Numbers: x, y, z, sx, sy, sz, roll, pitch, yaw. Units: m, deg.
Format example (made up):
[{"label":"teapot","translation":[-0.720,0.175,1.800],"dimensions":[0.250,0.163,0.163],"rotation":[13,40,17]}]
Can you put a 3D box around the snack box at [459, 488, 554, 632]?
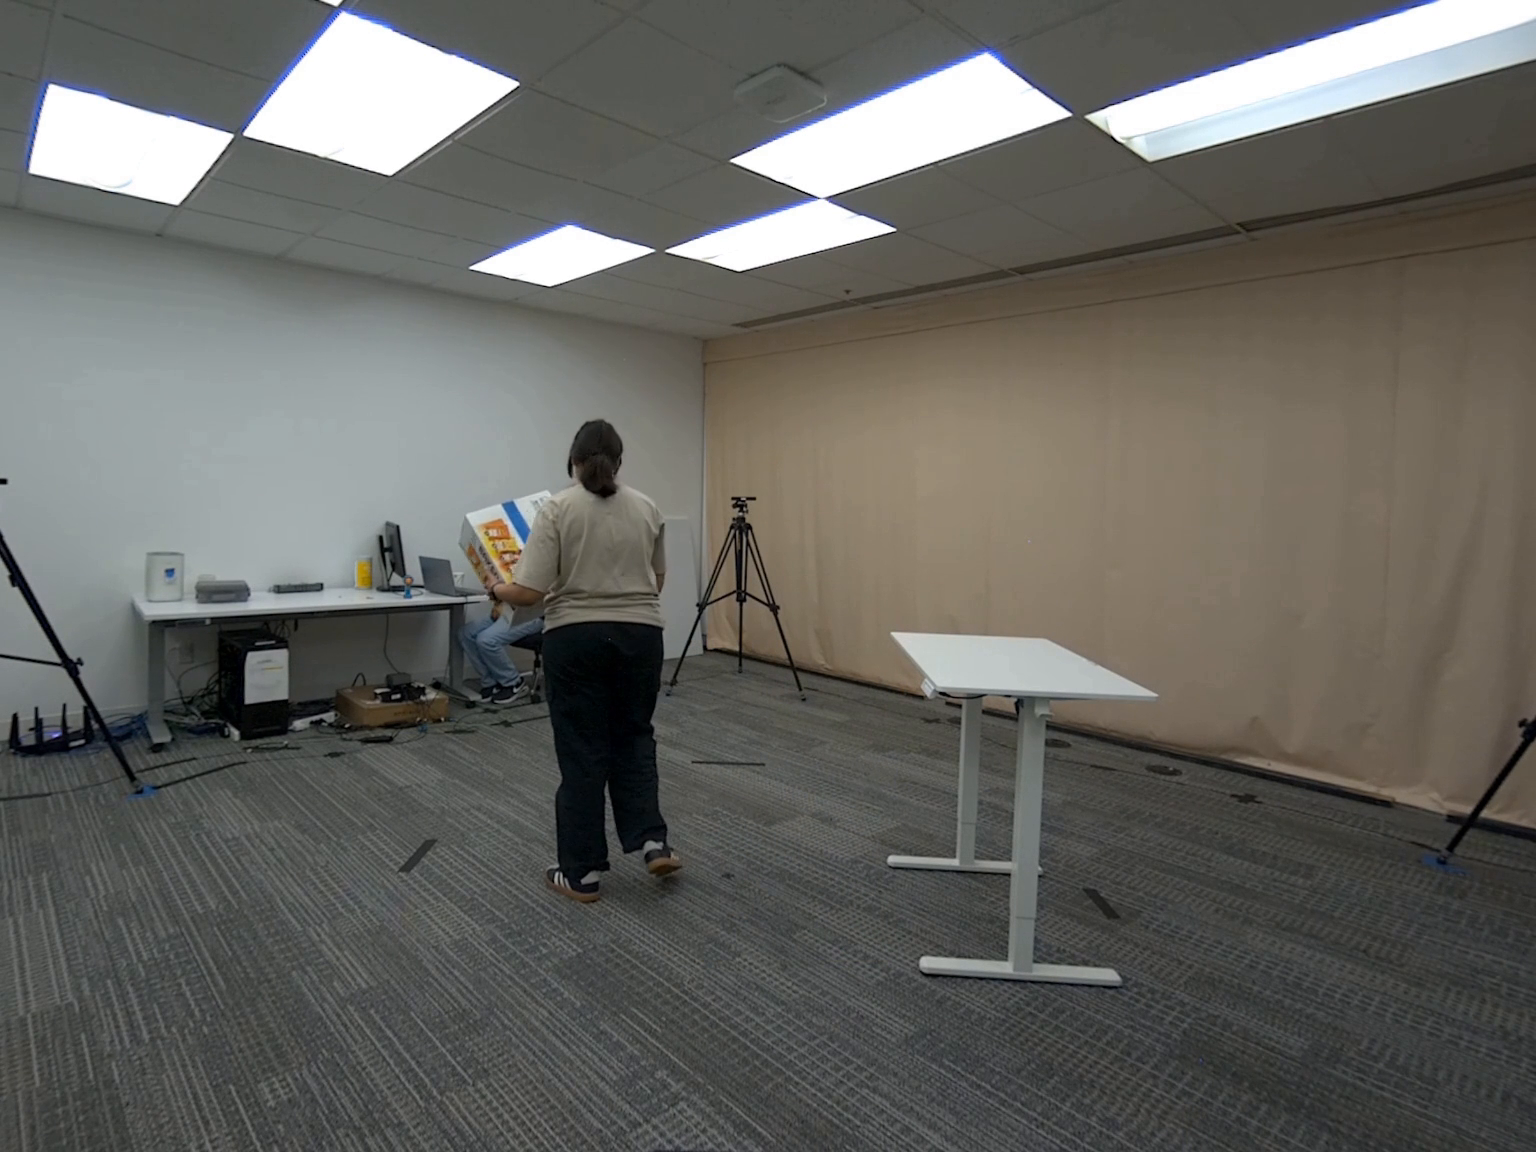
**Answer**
[{"label":"snack box","translation":[-0.889,-0.069,3.148],"dimensions":[0.336,0.413,0.204],"rotation":[-23,-22,-36]}]
